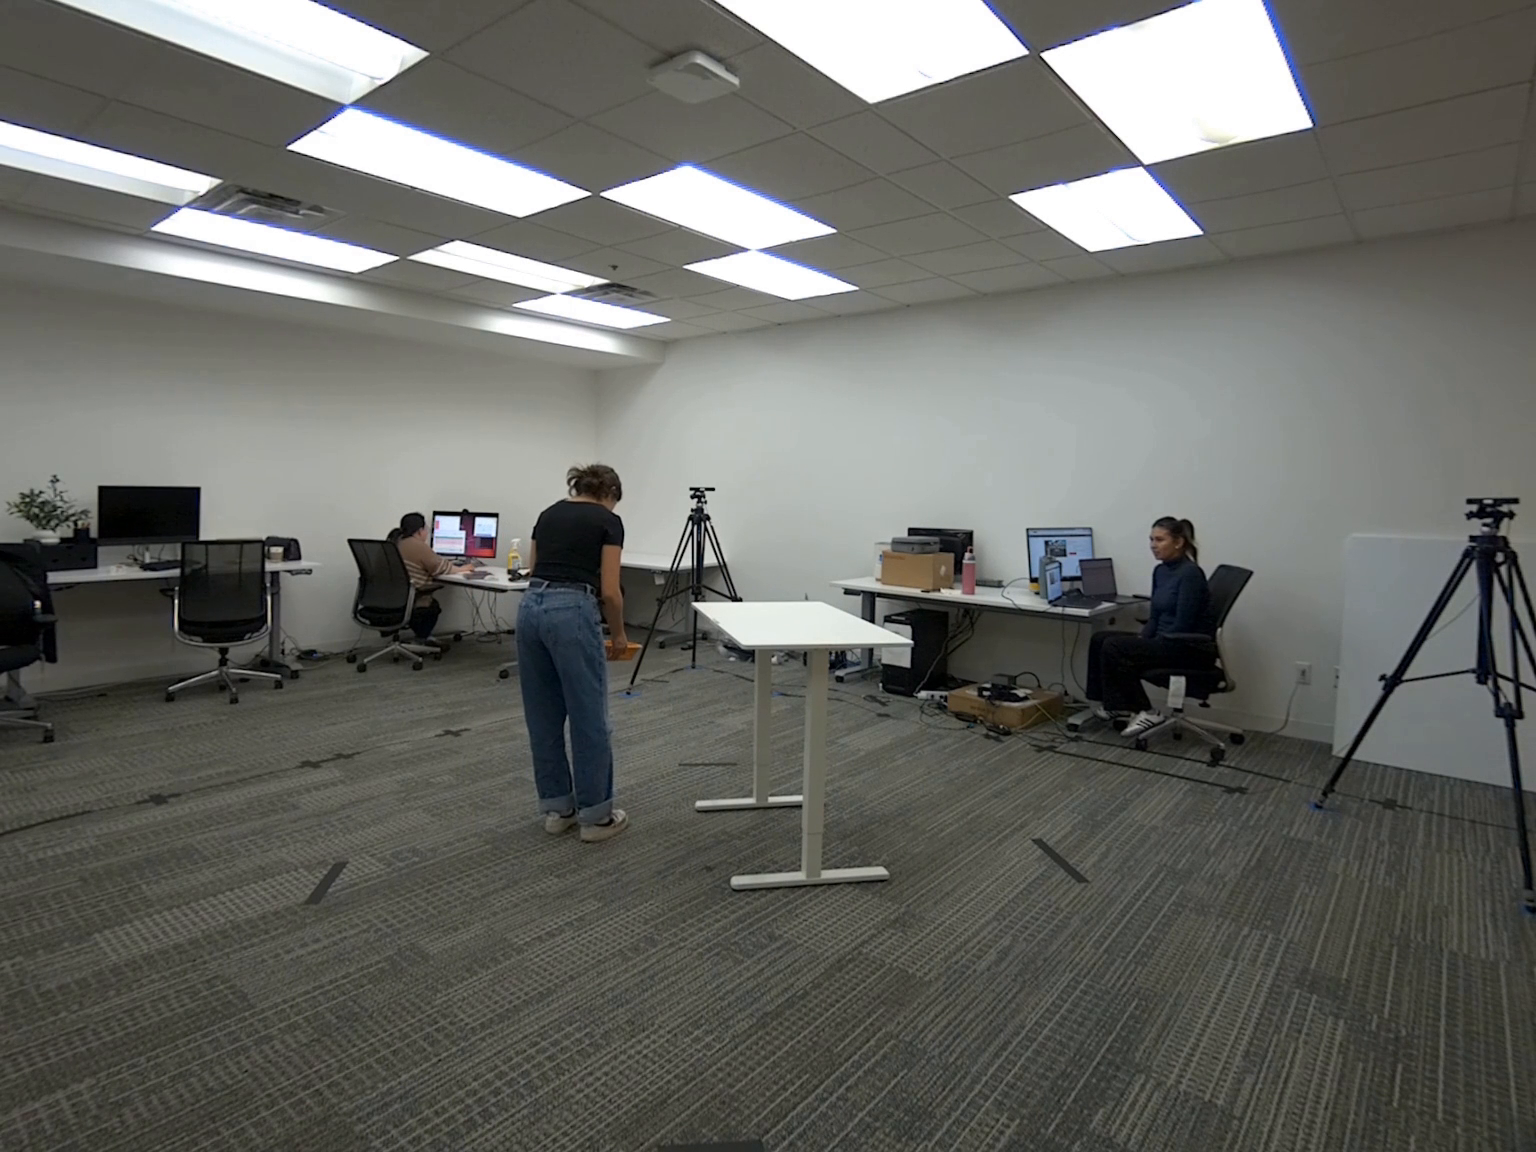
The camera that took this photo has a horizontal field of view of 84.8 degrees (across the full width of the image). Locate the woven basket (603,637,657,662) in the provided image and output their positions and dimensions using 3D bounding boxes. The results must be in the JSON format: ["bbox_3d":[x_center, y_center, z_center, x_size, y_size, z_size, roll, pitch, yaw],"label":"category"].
[{"bbox_3d":[-0.697,0.319,3.699,0.259,0.073,0.340,5,-2,27],"label":"woven basket"}]
